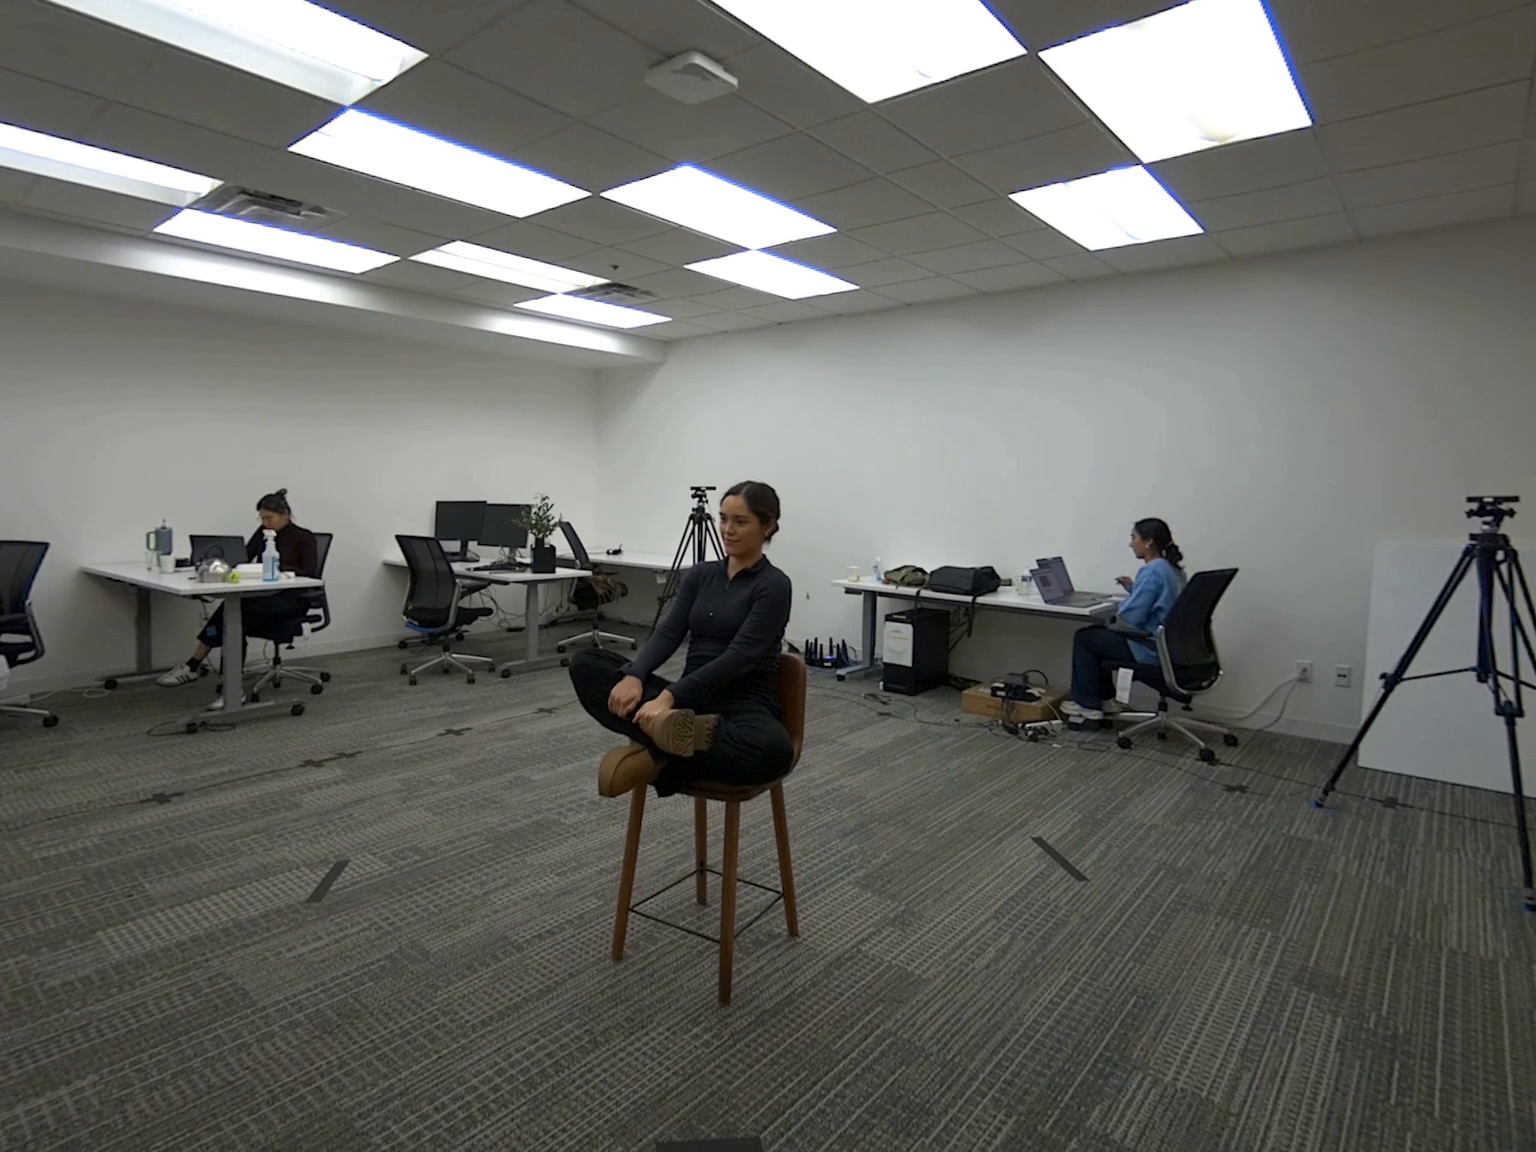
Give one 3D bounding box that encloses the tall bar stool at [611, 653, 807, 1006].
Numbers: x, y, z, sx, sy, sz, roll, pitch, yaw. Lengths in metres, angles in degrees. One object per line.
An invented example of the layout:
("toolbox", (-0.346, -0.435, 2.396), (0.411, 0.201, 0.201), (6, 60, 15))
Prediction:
("tall bar stool", (-0.168, 0.686, 2.557), (0.470, 0.888, 0.454), (3, 2, 32))
